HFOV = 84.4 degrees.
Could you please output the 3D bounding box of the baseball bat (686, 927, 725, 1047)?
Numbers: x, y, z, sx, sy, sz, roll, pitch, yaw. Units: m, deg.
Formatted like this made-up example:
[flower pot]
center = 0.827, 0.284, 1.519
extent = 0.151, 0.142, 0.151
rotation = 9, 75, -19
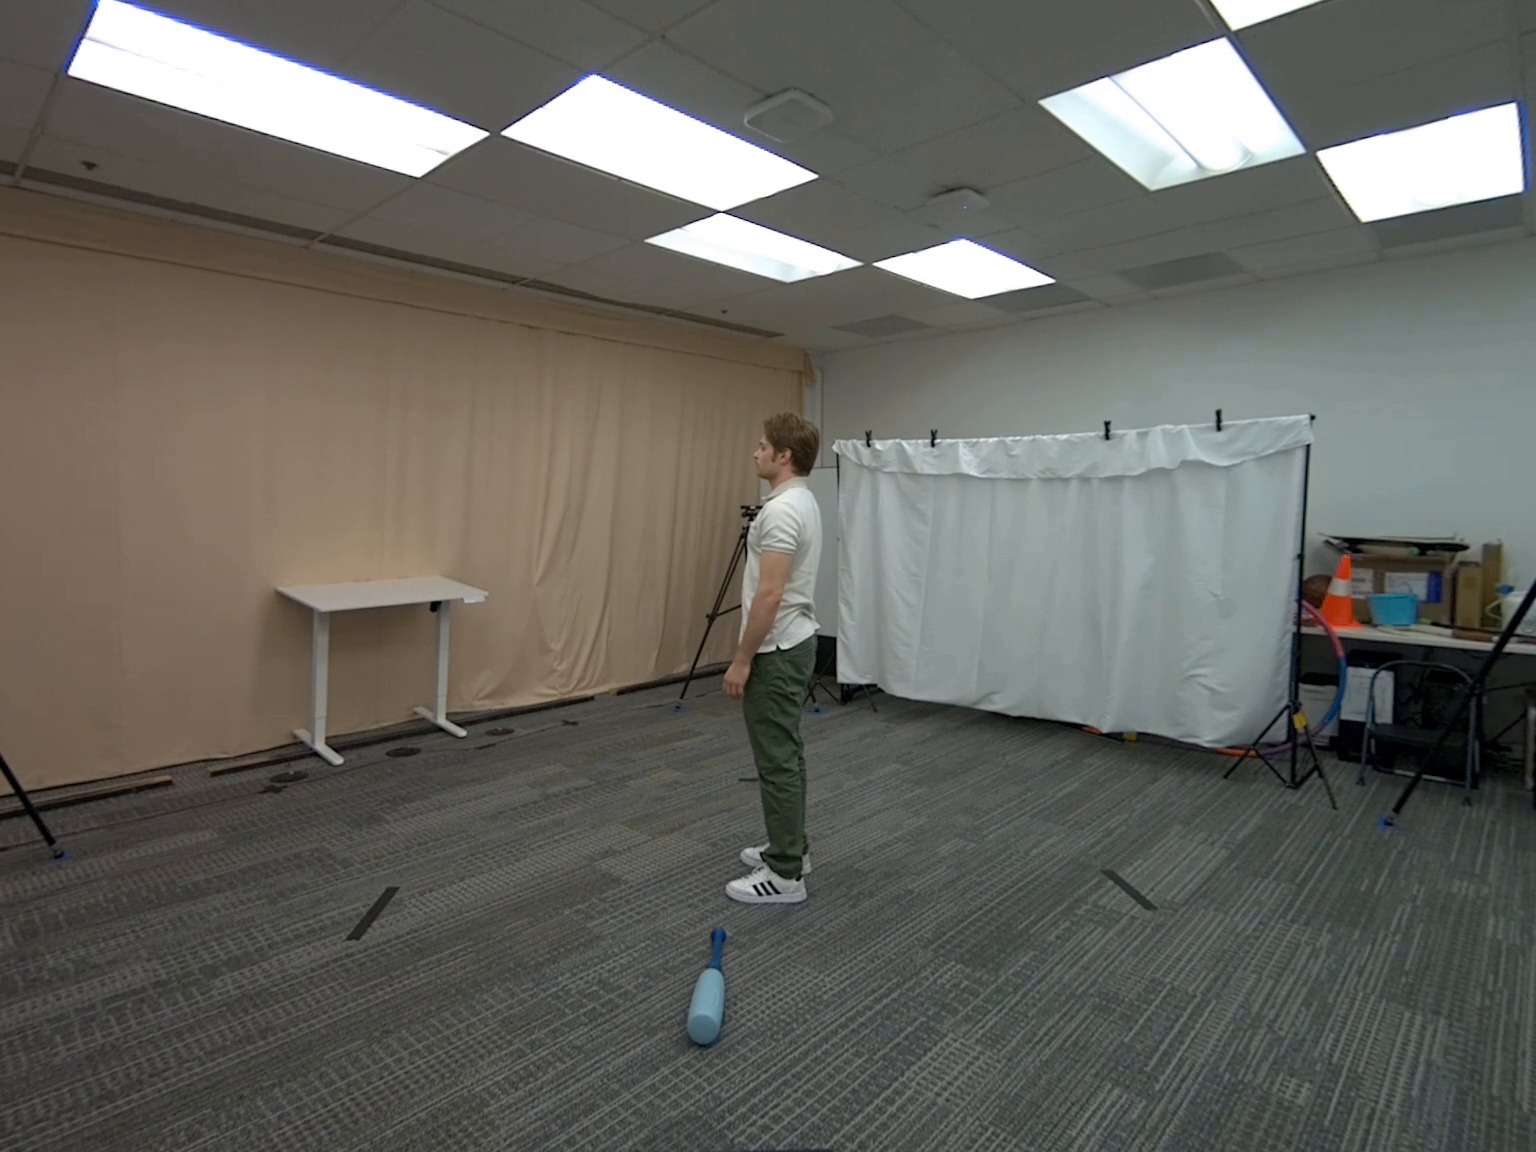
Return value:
[baseball bat]
center = -0.157, 1.156, 2.422
extent = 0.089, 0.089, 0.541
rotation = 0, 1, 1
